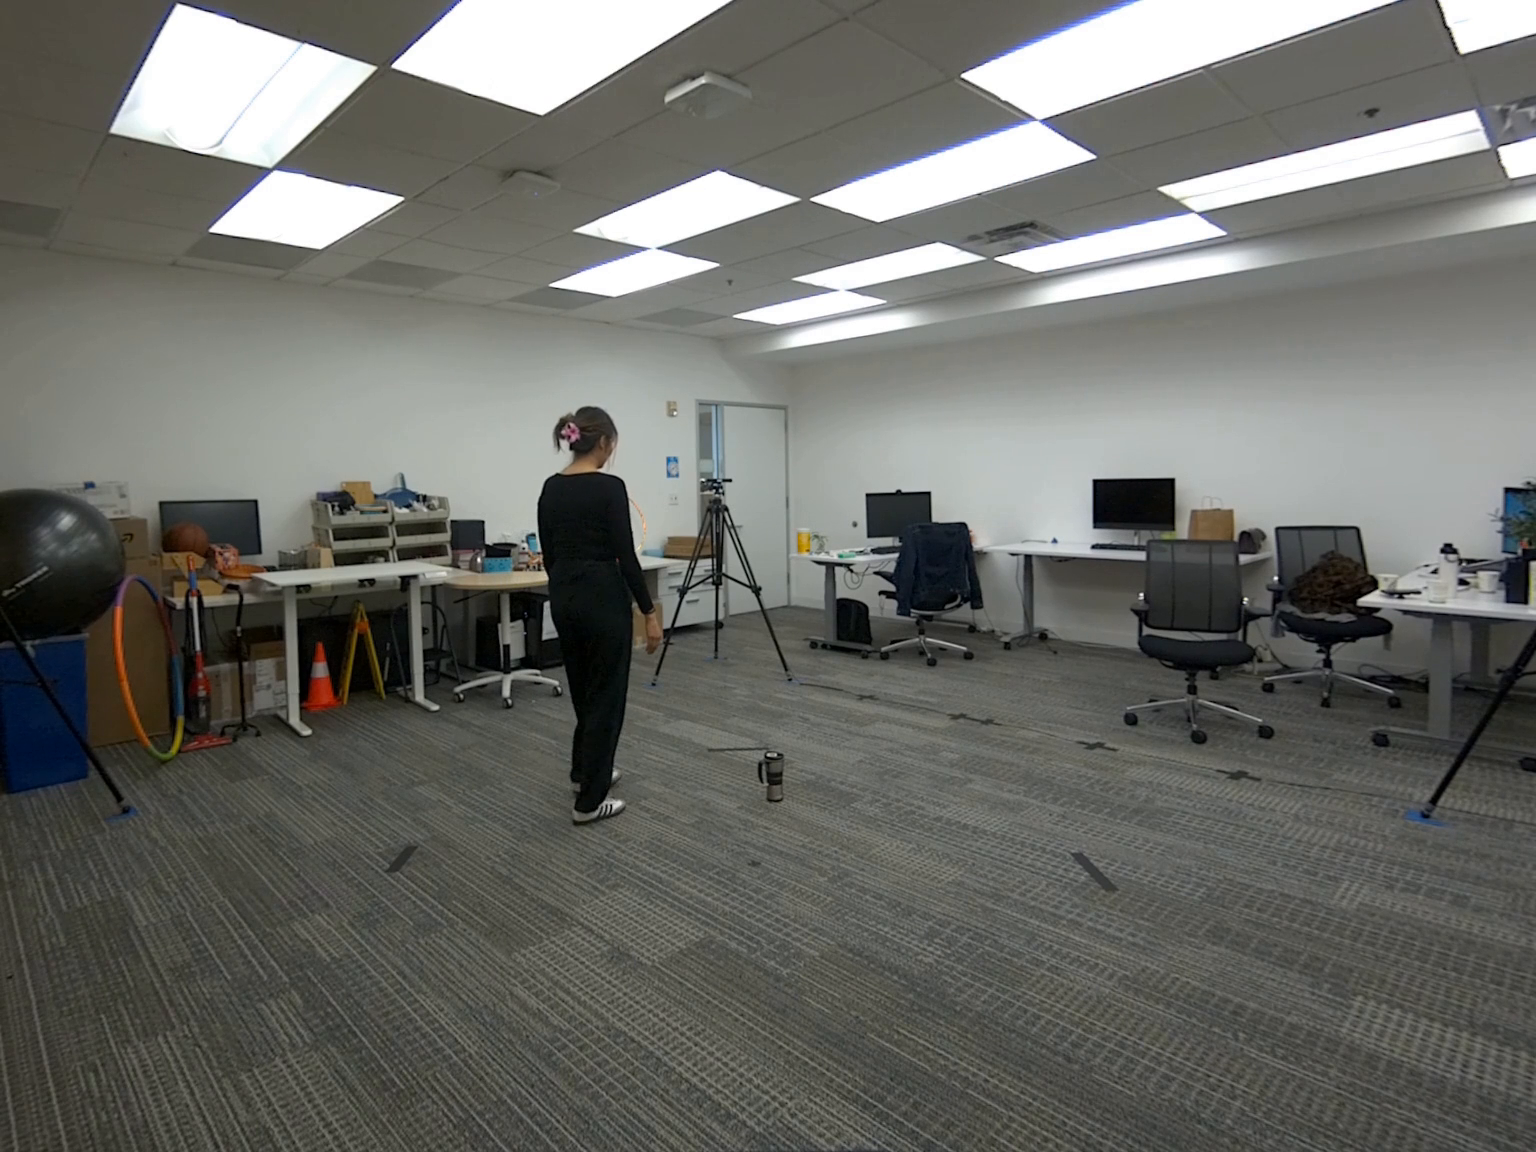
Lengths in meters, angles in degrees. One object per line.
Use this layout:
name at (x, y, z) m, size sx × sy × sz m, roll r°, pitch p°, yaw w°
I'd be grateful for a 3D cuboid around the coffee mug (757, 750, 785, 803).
coffee mug at (0.004, 0.872, 3.718) m, size 0.120 × 0.202 × 0.089 m, roll 2°, pitch 5°, yaw -12°
